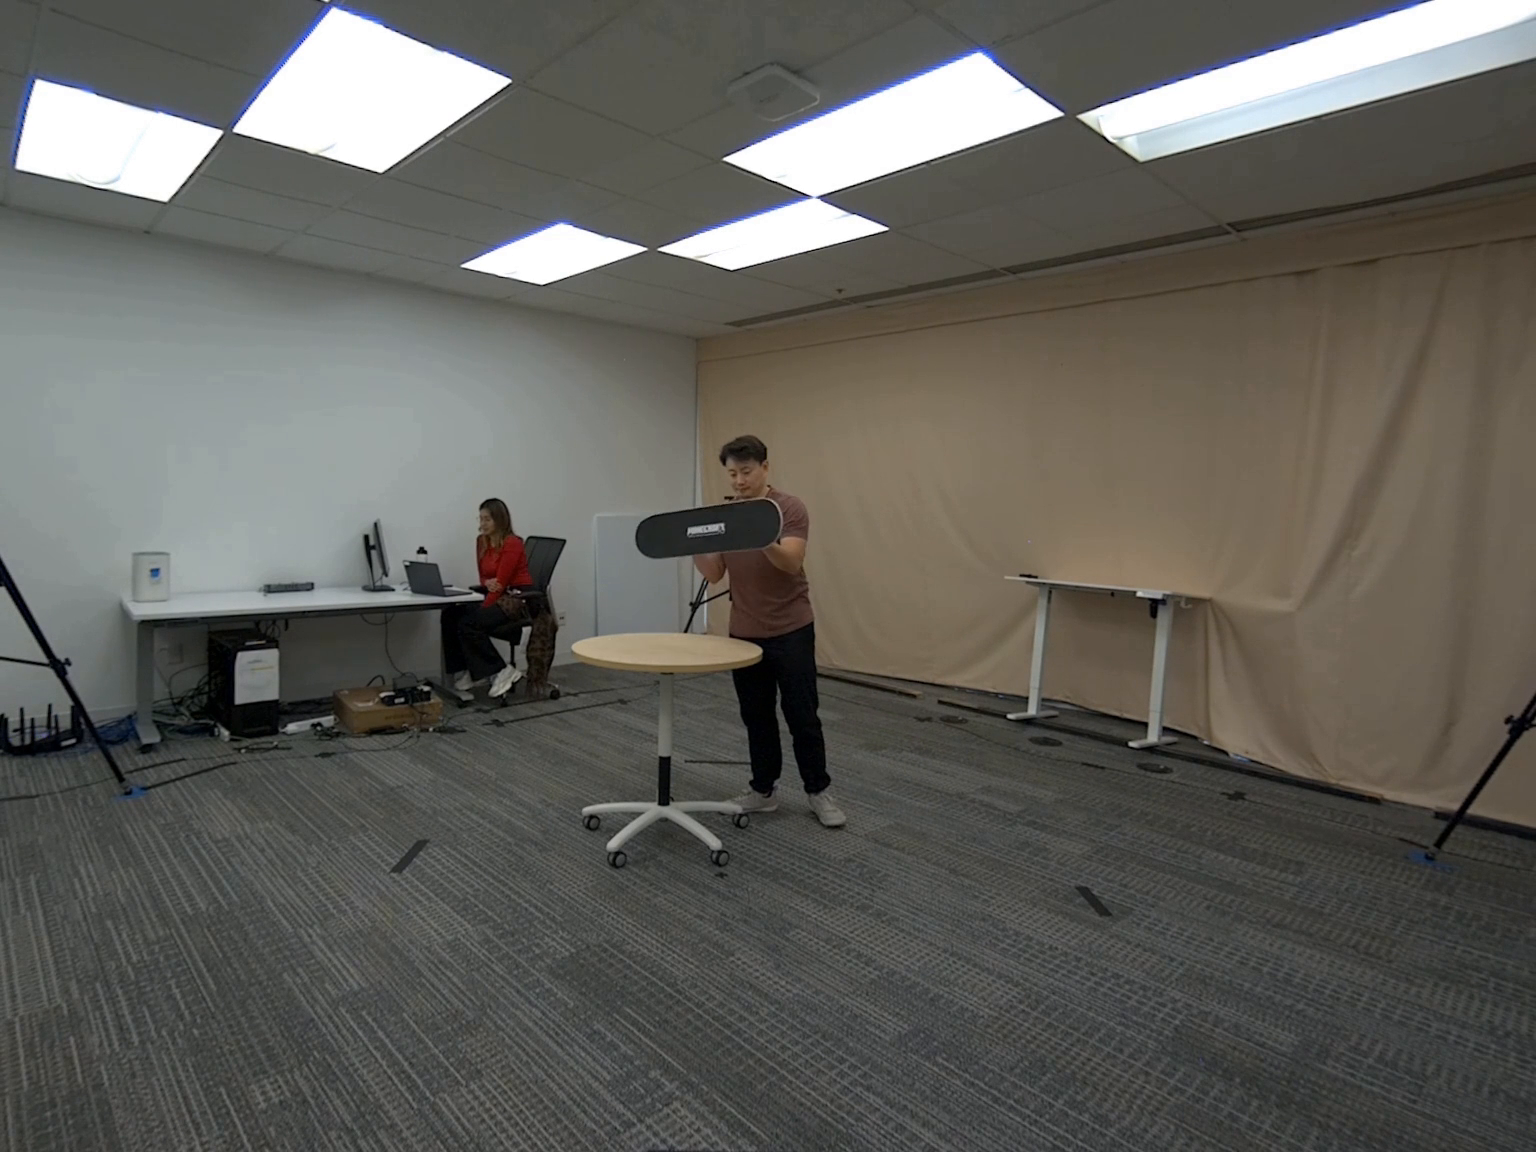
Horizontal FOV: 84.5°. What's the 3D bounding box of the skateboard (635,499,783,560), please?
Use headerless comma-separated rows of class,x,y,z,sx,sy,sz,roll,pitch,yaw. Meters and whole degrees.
skateboard,-0.240,-0.185,3.403,0.802,0.194,0.108,-4,-1,39
